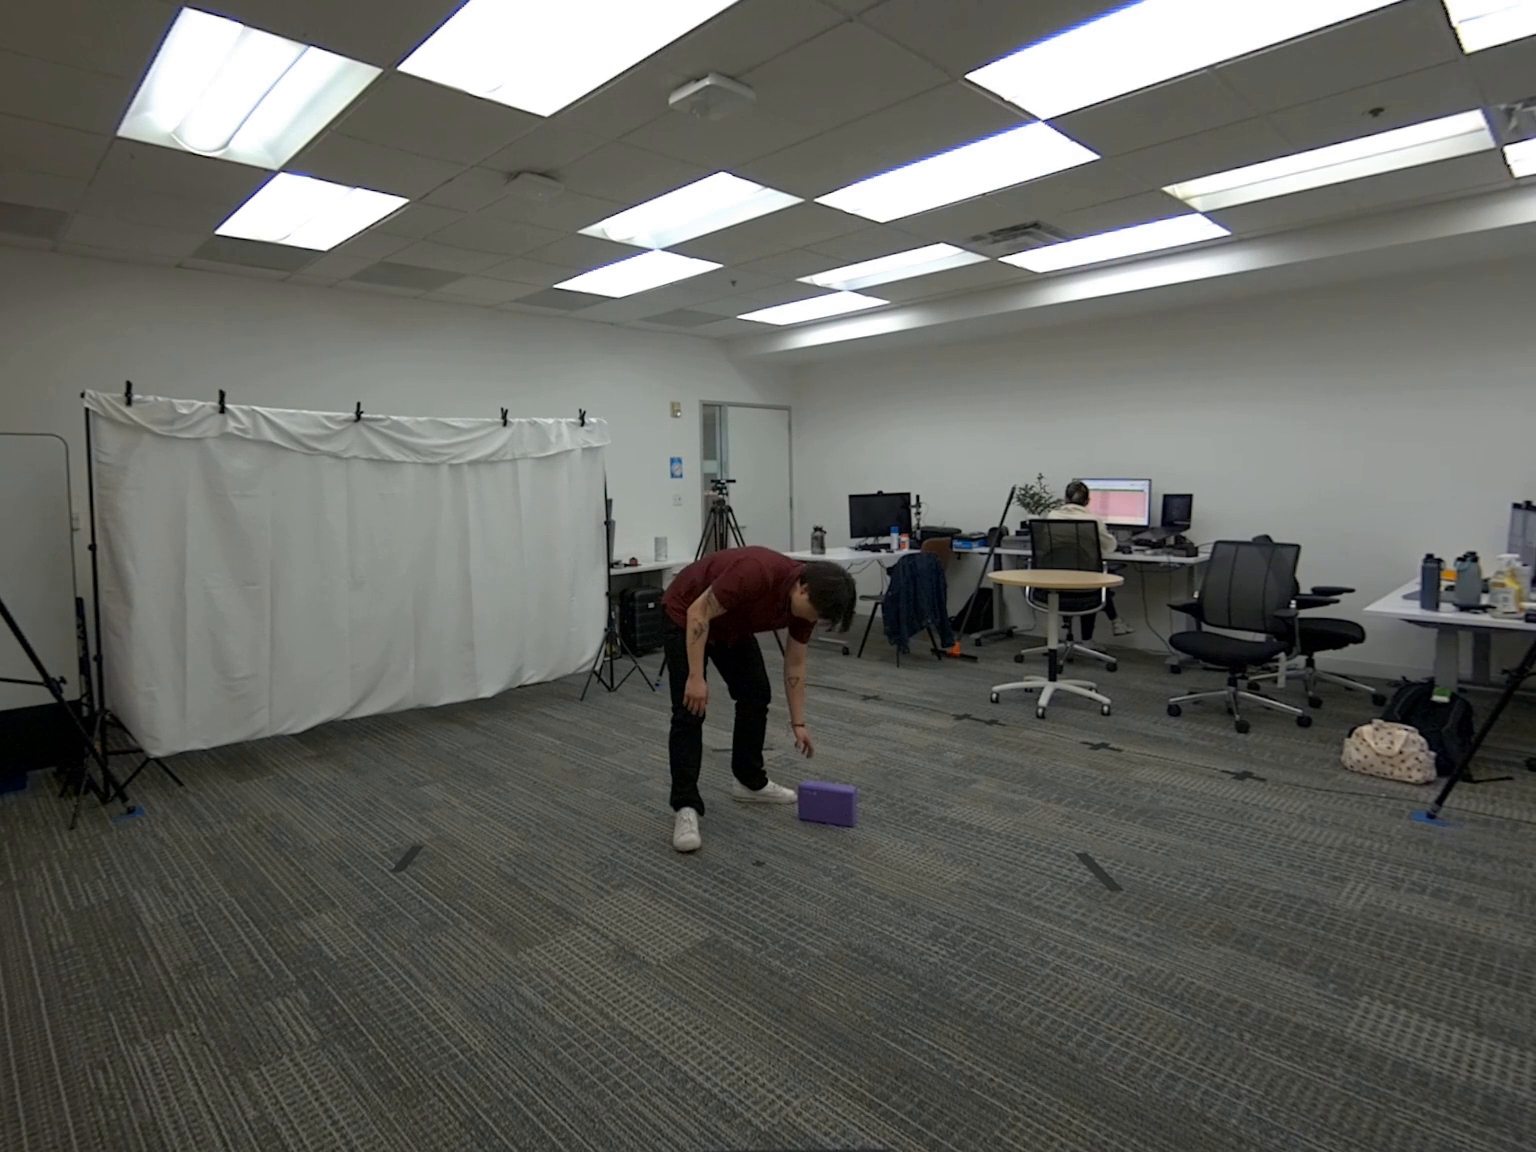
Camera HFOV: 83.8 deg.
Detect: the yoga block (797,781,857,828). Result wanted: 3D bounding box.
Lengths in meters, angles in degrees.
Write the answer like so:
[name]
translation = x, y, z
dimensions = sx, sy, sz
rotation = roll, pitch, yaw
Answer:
[yoga block]
translation = 0.240, 0.919, 3.477
dimensions = 0.234, 0.148, 0.075
rotation = 3, 4, 22
